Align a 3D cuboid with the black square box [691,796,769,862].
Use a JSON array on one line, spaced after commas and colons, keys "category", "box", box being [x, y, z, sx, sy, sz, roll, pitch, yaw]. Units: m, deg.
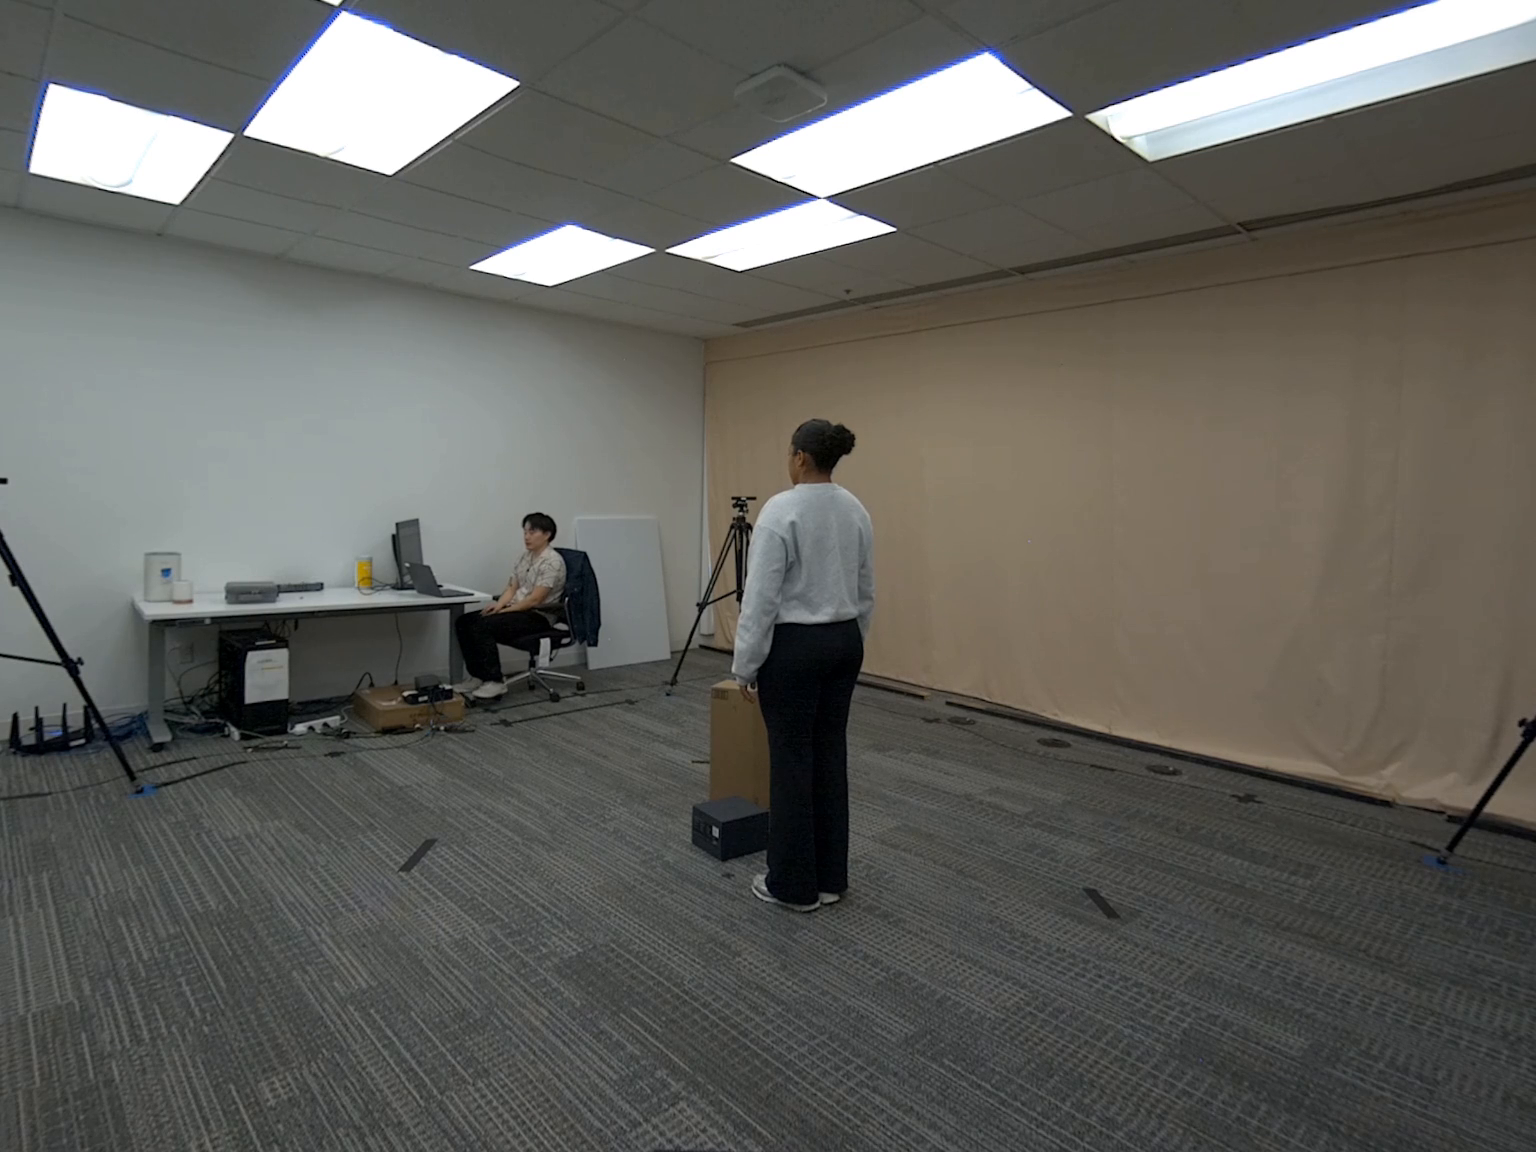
[{"category": "black square box", "box": [-0.165, 1.002, 3.364, 0.223, 0.155, 0.222, -1, 5, -37]}]
